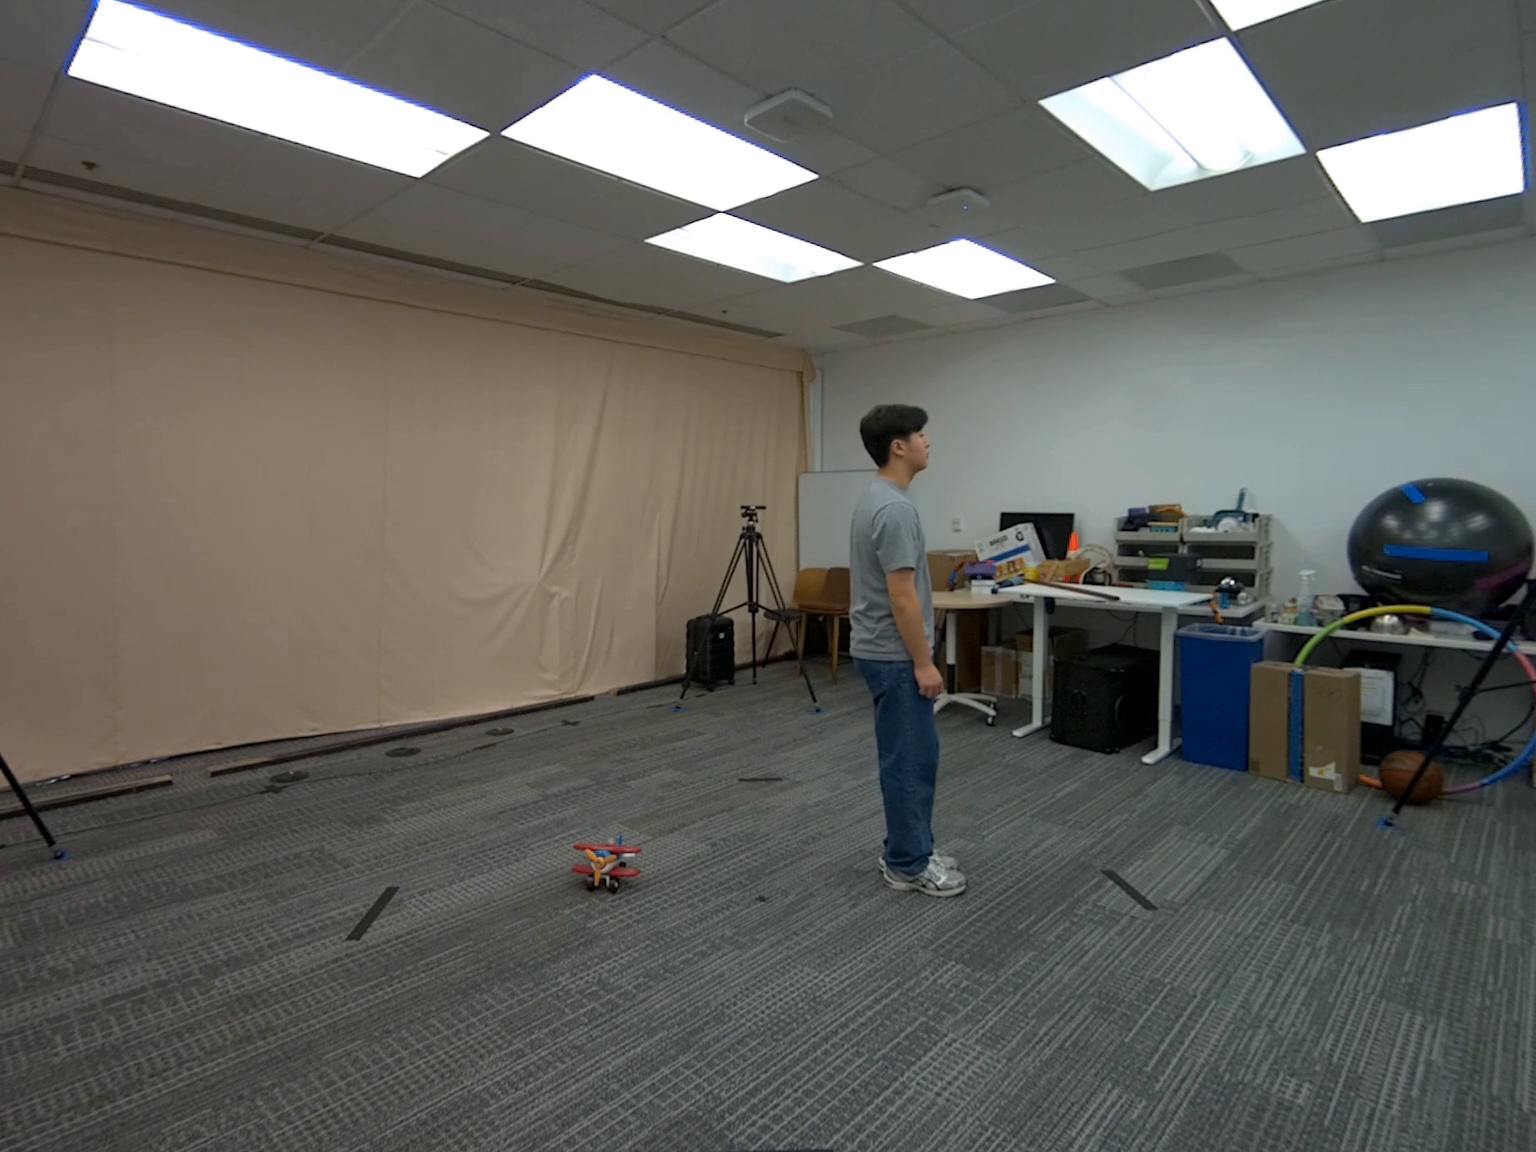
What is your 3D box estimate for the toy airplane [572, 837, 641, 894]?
[{"bbox_3d":[-0.608,1.067,3.141,0.247,0.156,0.264,-1,4,-17],"label":"toy airplane"}]
